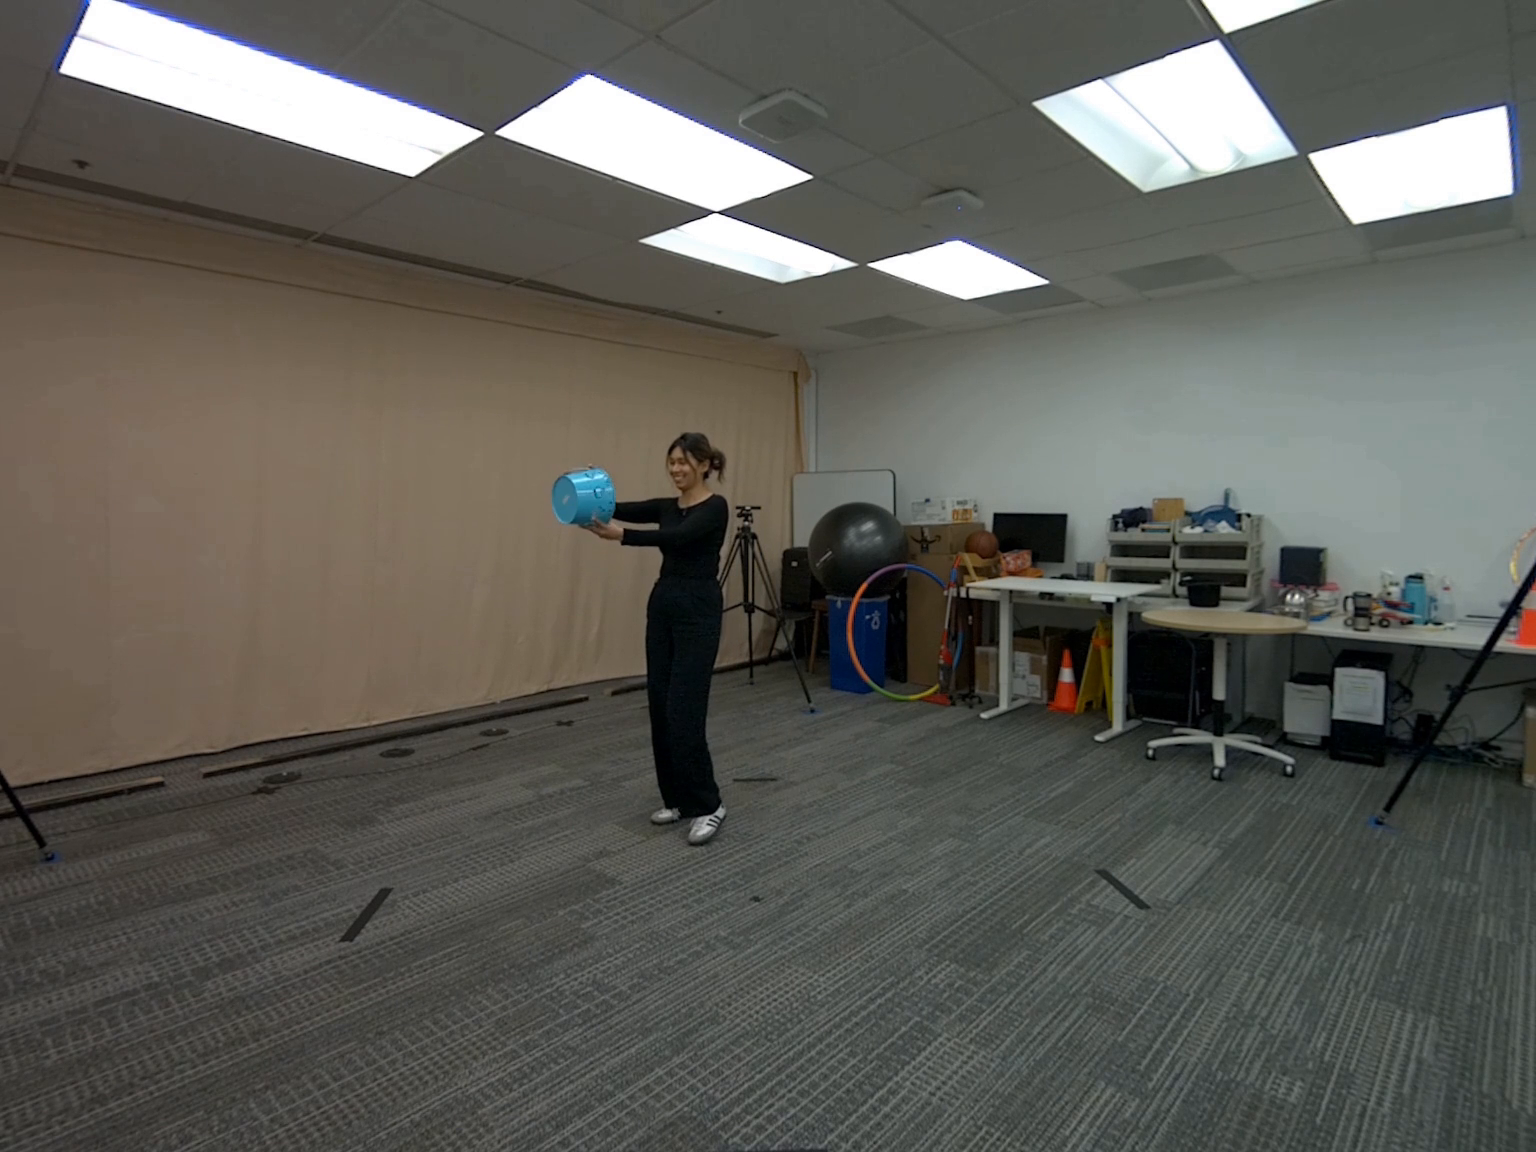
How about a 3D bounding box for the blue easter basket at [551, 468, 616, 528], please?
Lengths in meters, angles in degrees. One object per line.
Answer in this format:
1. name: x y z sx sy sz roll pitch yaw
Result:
1. blue easter basket: -0.712 -0.295 3.221 0.151 0.243 0.252 -7 8 -44
